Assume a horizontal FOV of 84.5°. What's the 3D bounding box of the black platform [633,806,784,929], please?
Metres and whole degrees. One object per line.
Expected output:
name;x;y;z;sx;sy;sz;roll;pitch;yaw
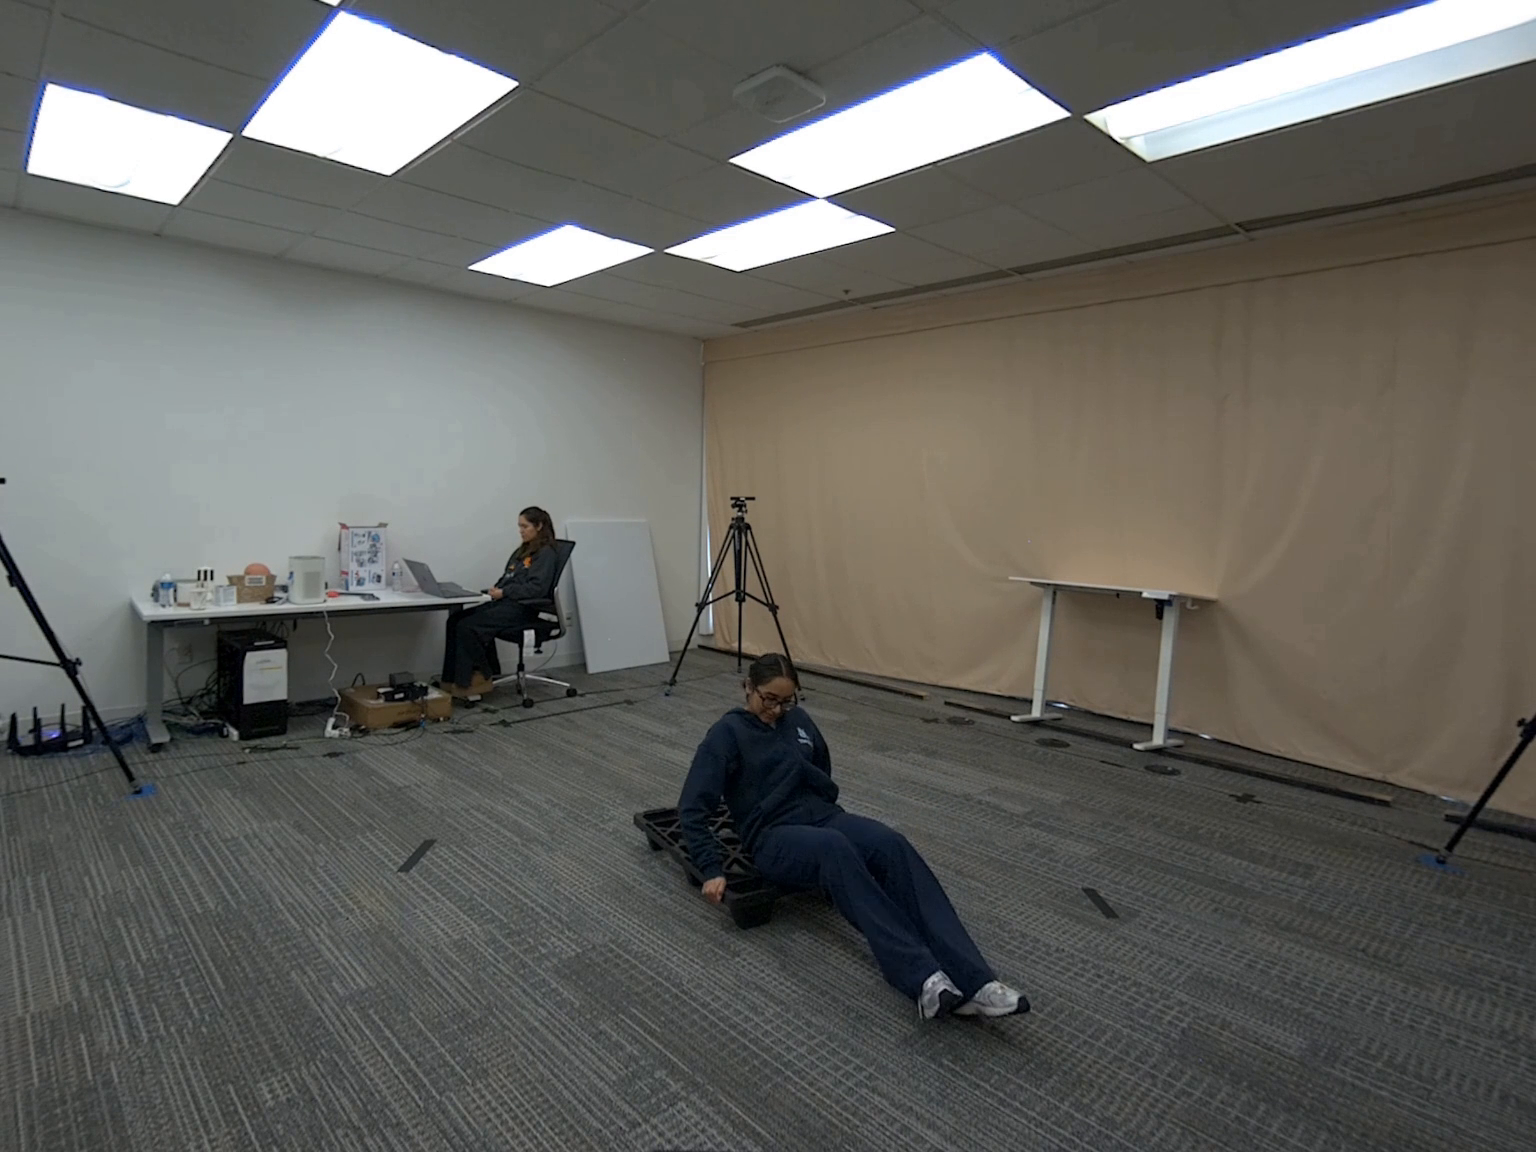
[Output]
black platform;-0.084;1.039;3.149;0.593;0.143;0.824;-2;7;-30
